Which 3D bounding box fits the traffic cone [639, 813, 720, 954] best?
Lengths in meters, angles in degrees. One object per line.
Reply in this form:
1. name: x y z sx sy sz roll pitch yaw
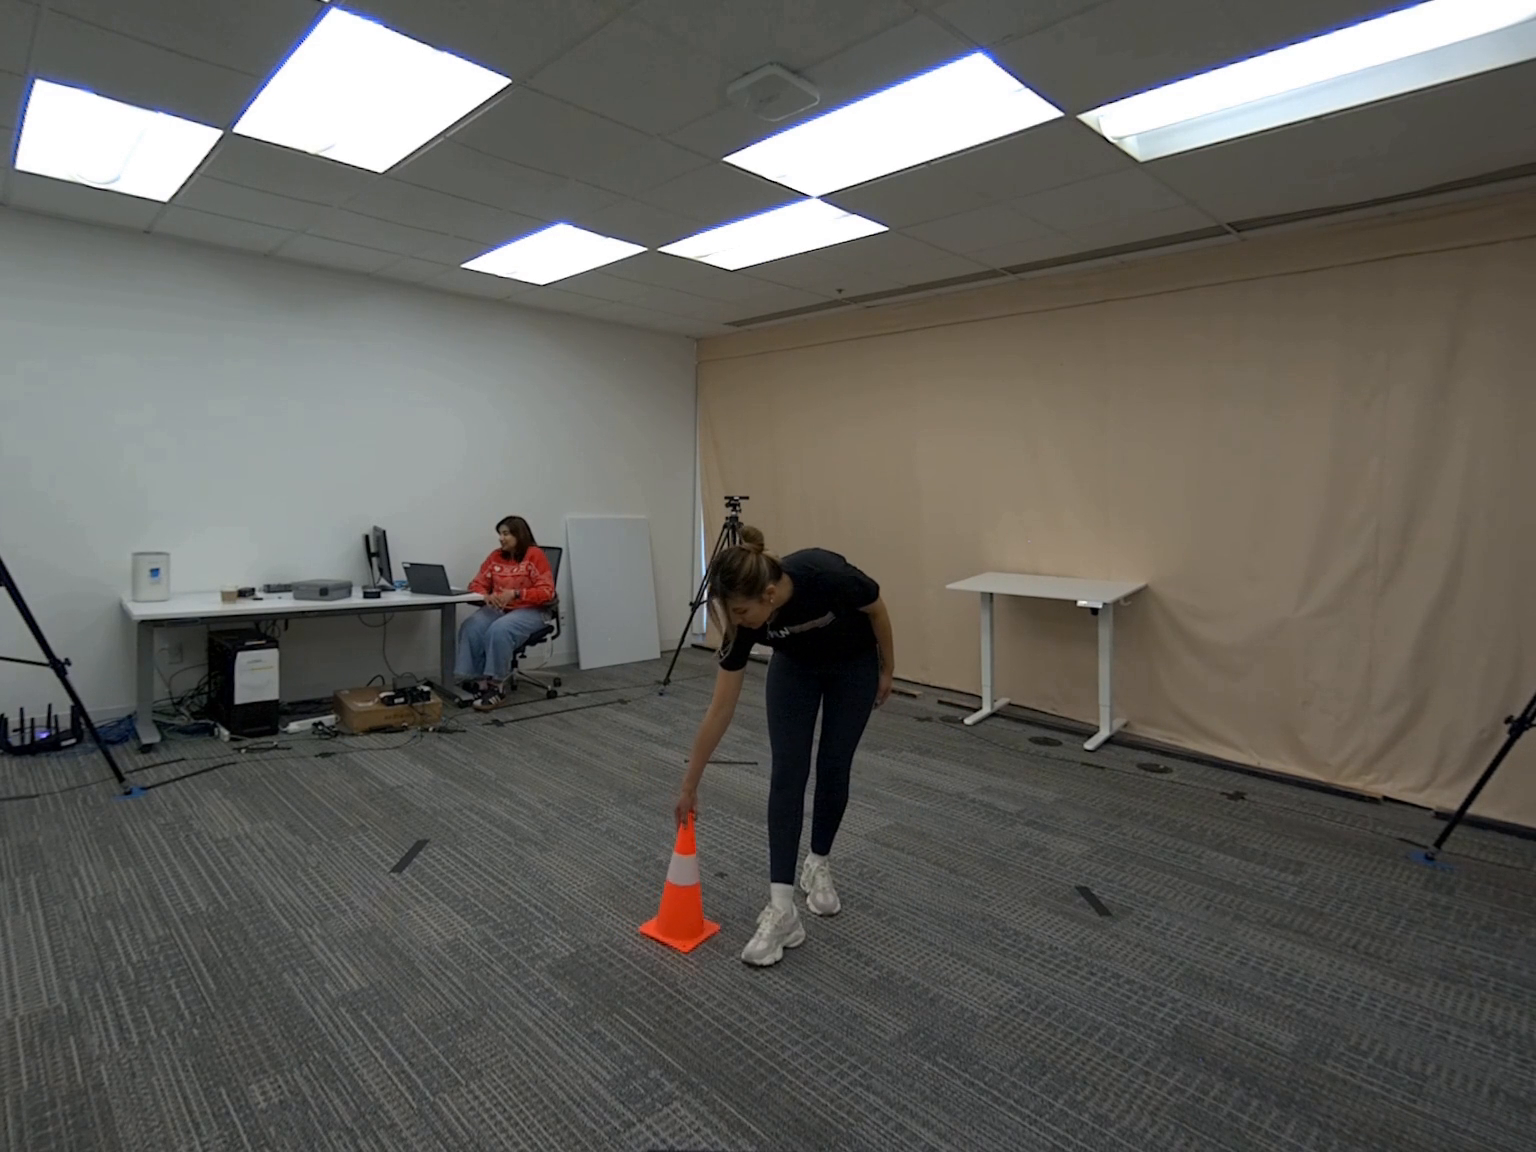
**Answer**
1. traffic cone: -0.249 0.947 2.665 0.210 0.382 0.199 8 7 36
